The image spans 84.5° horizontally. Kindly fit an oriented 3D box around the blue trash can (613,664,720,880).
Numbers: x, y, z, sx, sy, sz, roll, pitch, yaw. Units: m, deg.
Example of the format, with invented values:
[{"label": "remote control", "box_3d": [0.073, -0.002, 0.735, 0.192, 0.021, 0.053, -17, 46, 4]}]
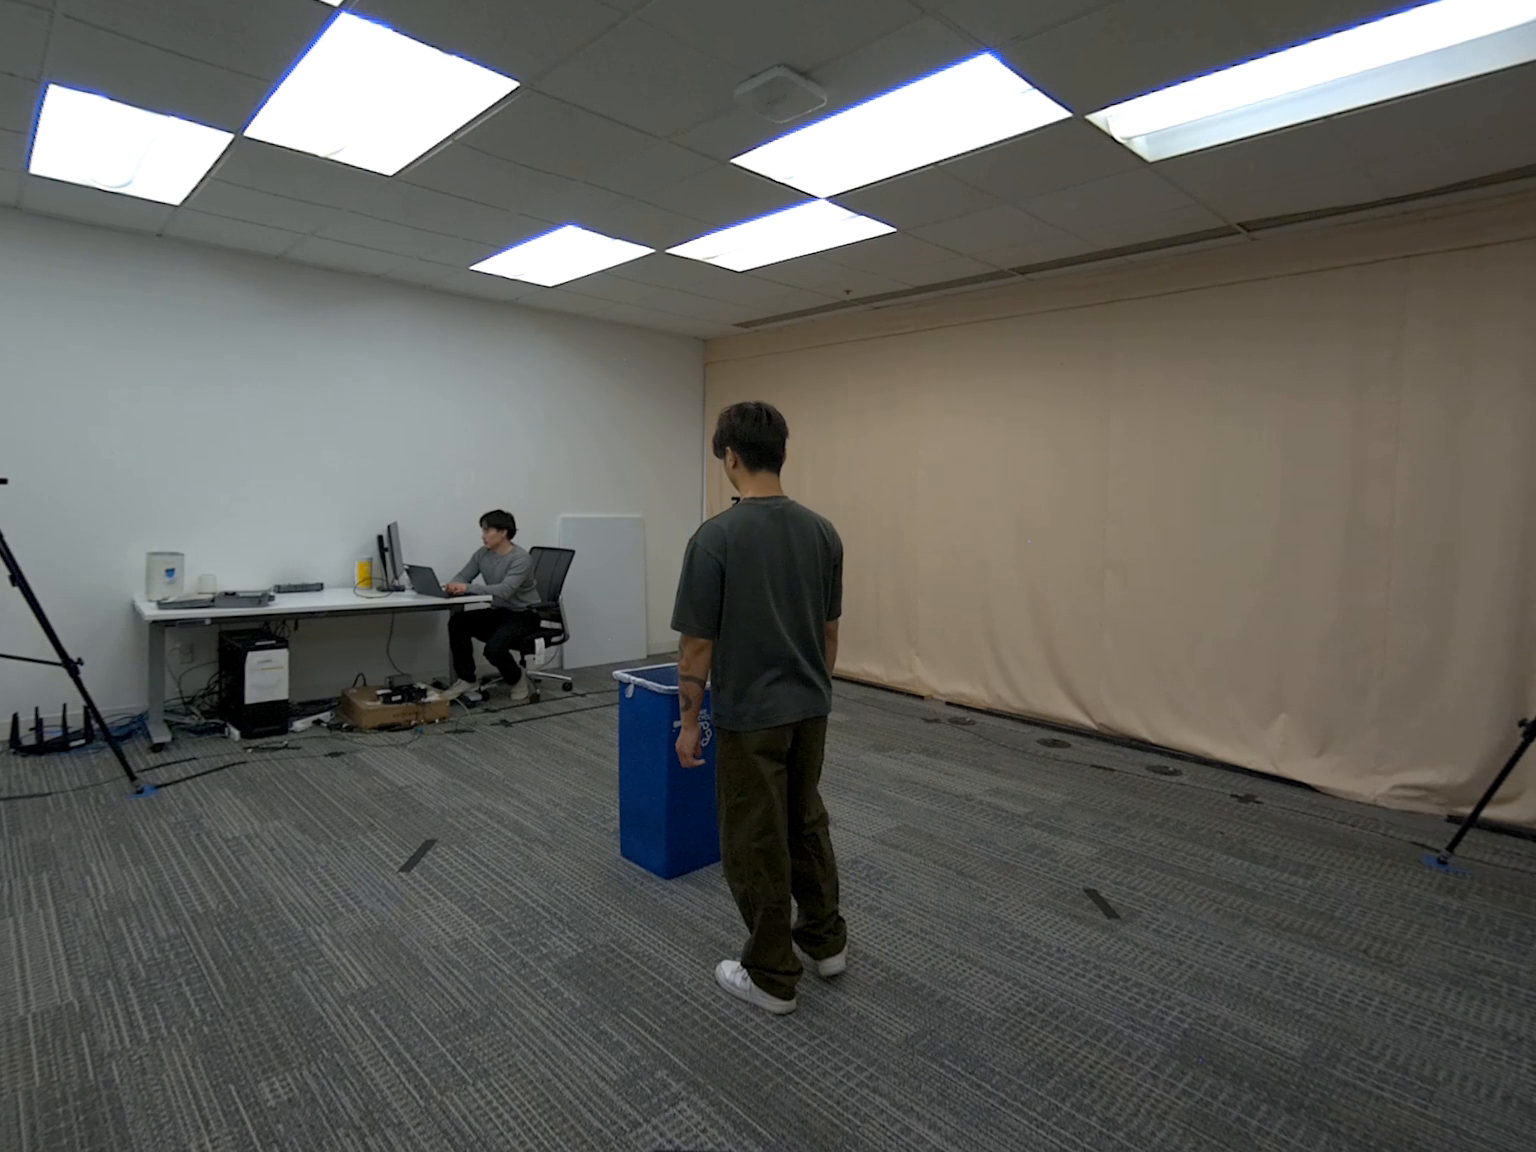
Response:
[{"label": "blue trash can", "box_3d": [-0.363, 0.731, 3.253, 0.365, 0.712, 0.388, -2, 5, -44]}]
